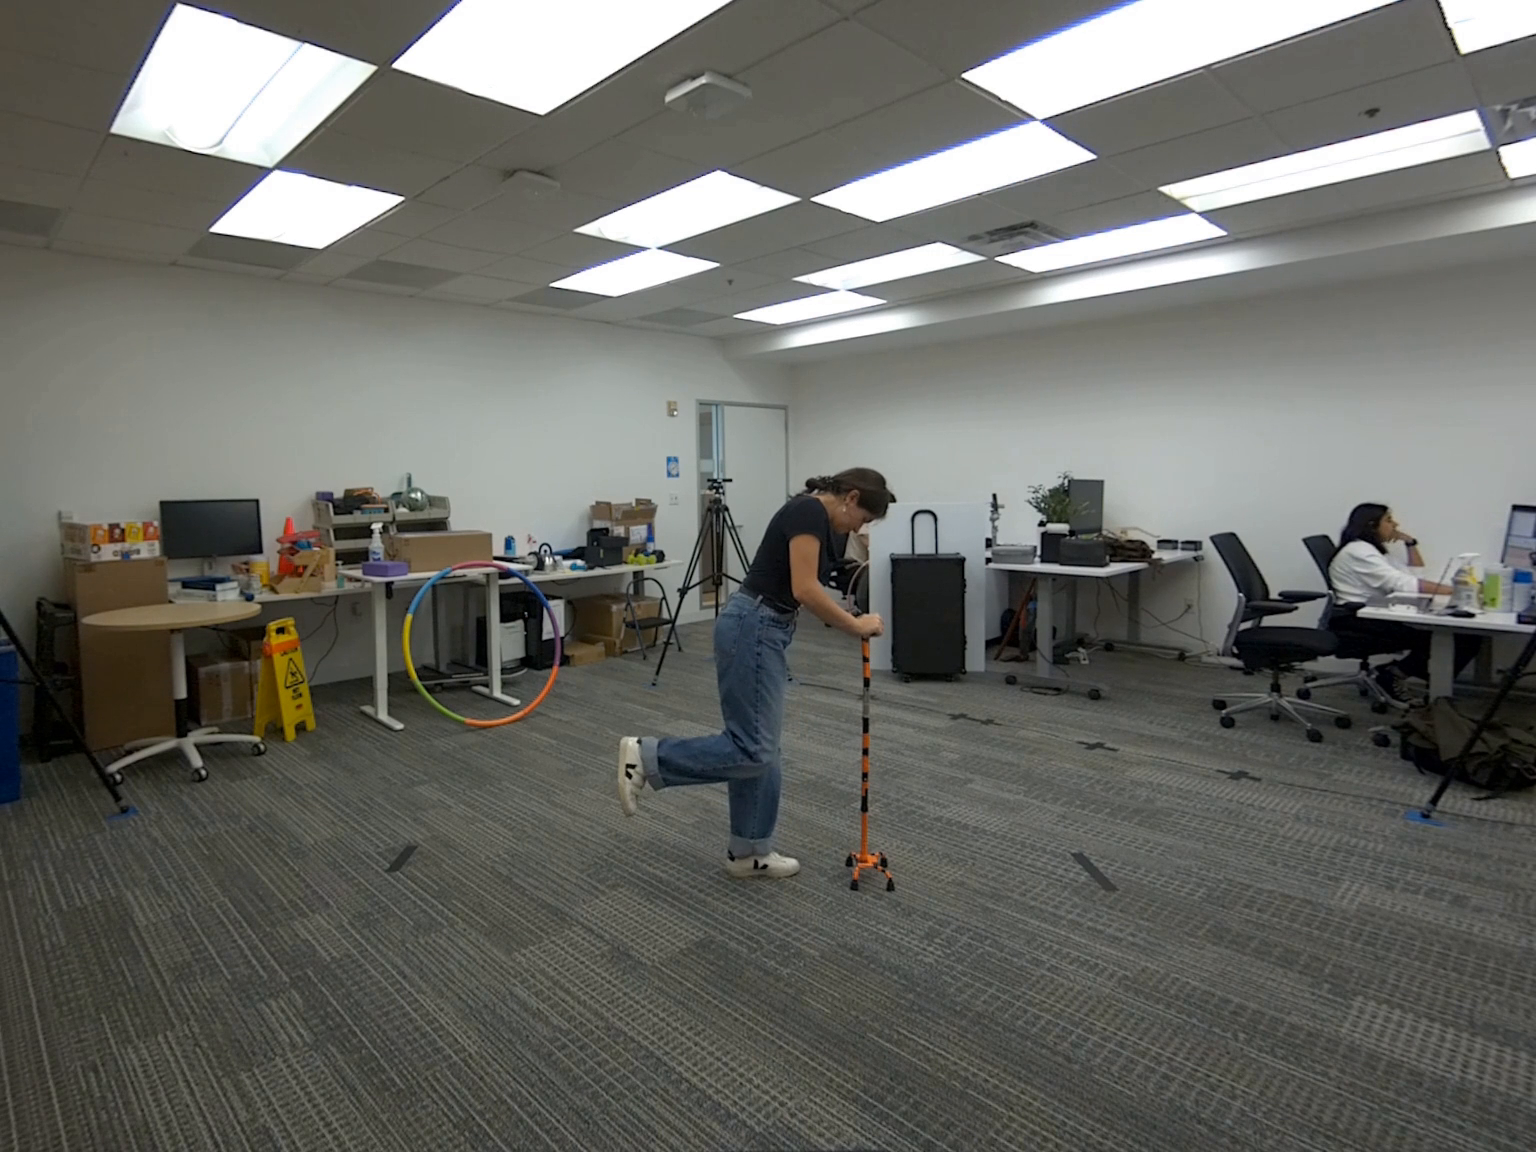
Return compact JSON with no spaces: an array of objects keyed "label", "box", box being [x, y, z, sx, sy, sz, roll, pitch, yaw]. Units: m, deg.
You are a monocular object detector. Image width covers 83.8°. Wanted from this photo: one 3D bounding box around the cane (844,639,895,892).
[{"label":"cane","box":[0.351,0.591,2.949,0.152,0.904,0.207,0,4,1]}]
